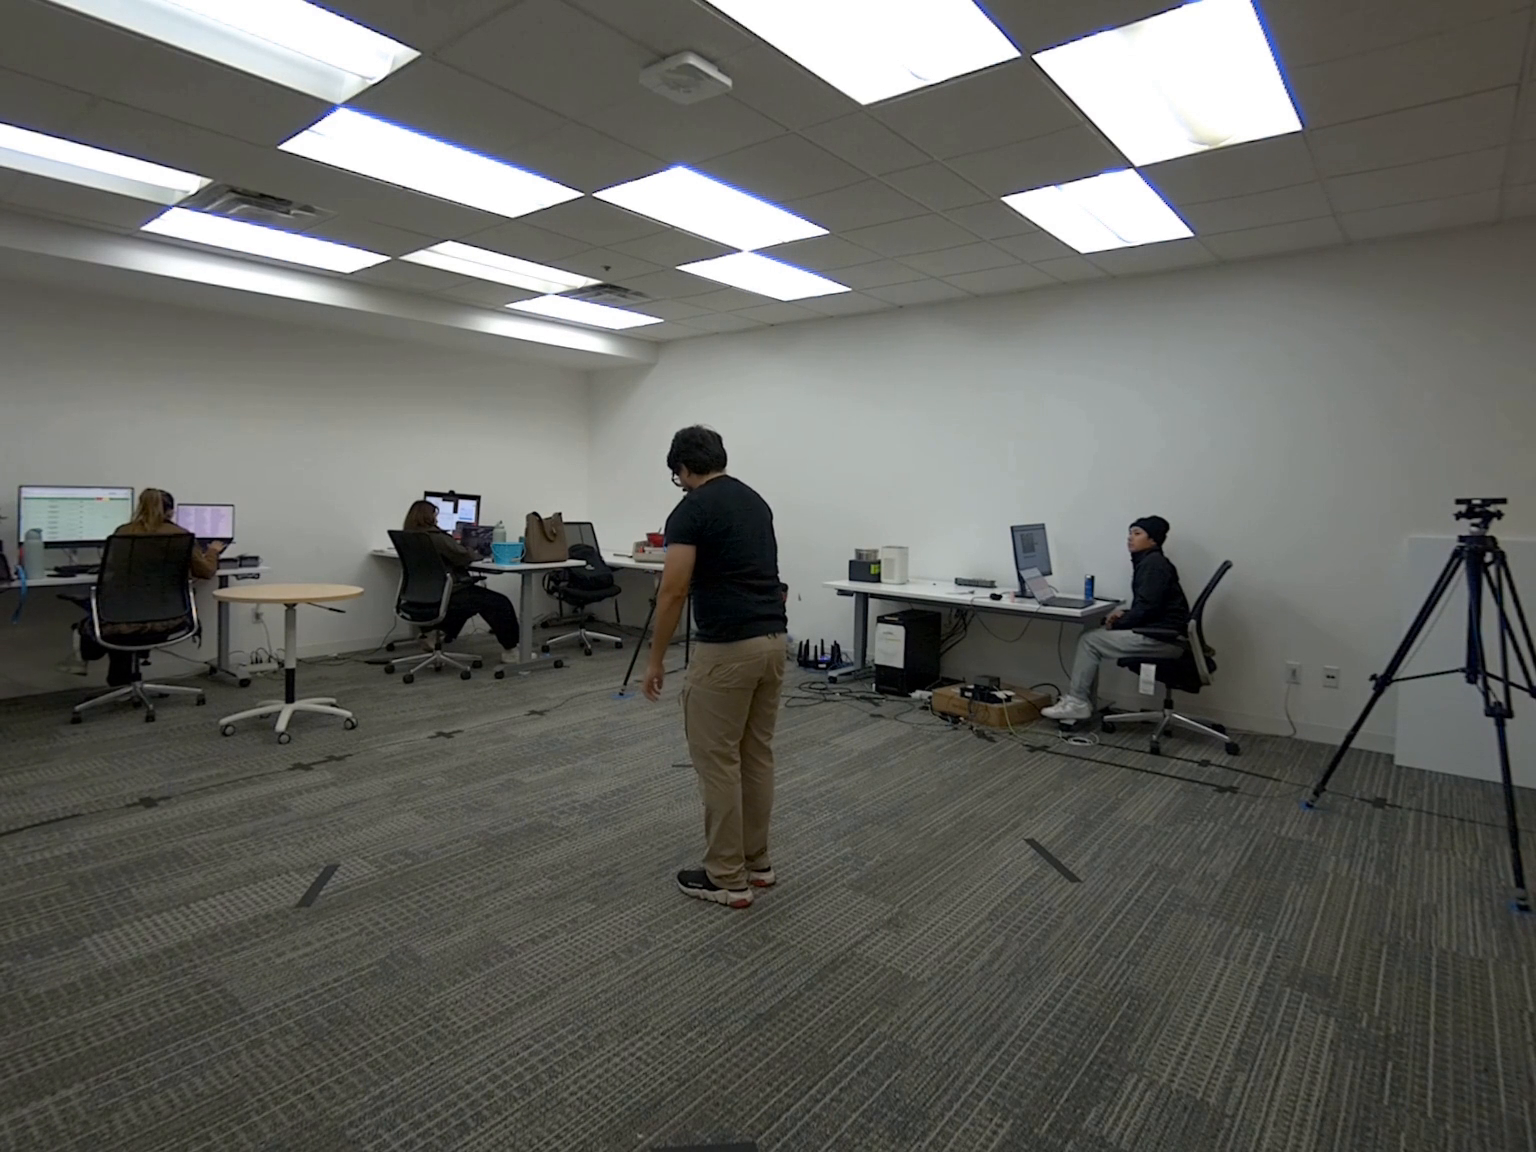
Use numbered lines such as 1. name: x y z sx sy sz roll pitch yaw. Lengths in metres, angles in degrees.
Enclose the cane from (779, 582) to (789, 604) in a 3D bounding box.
1. cane: -0.055 0.472 3.382 0.156 0.909 0.200 13 -3 22
